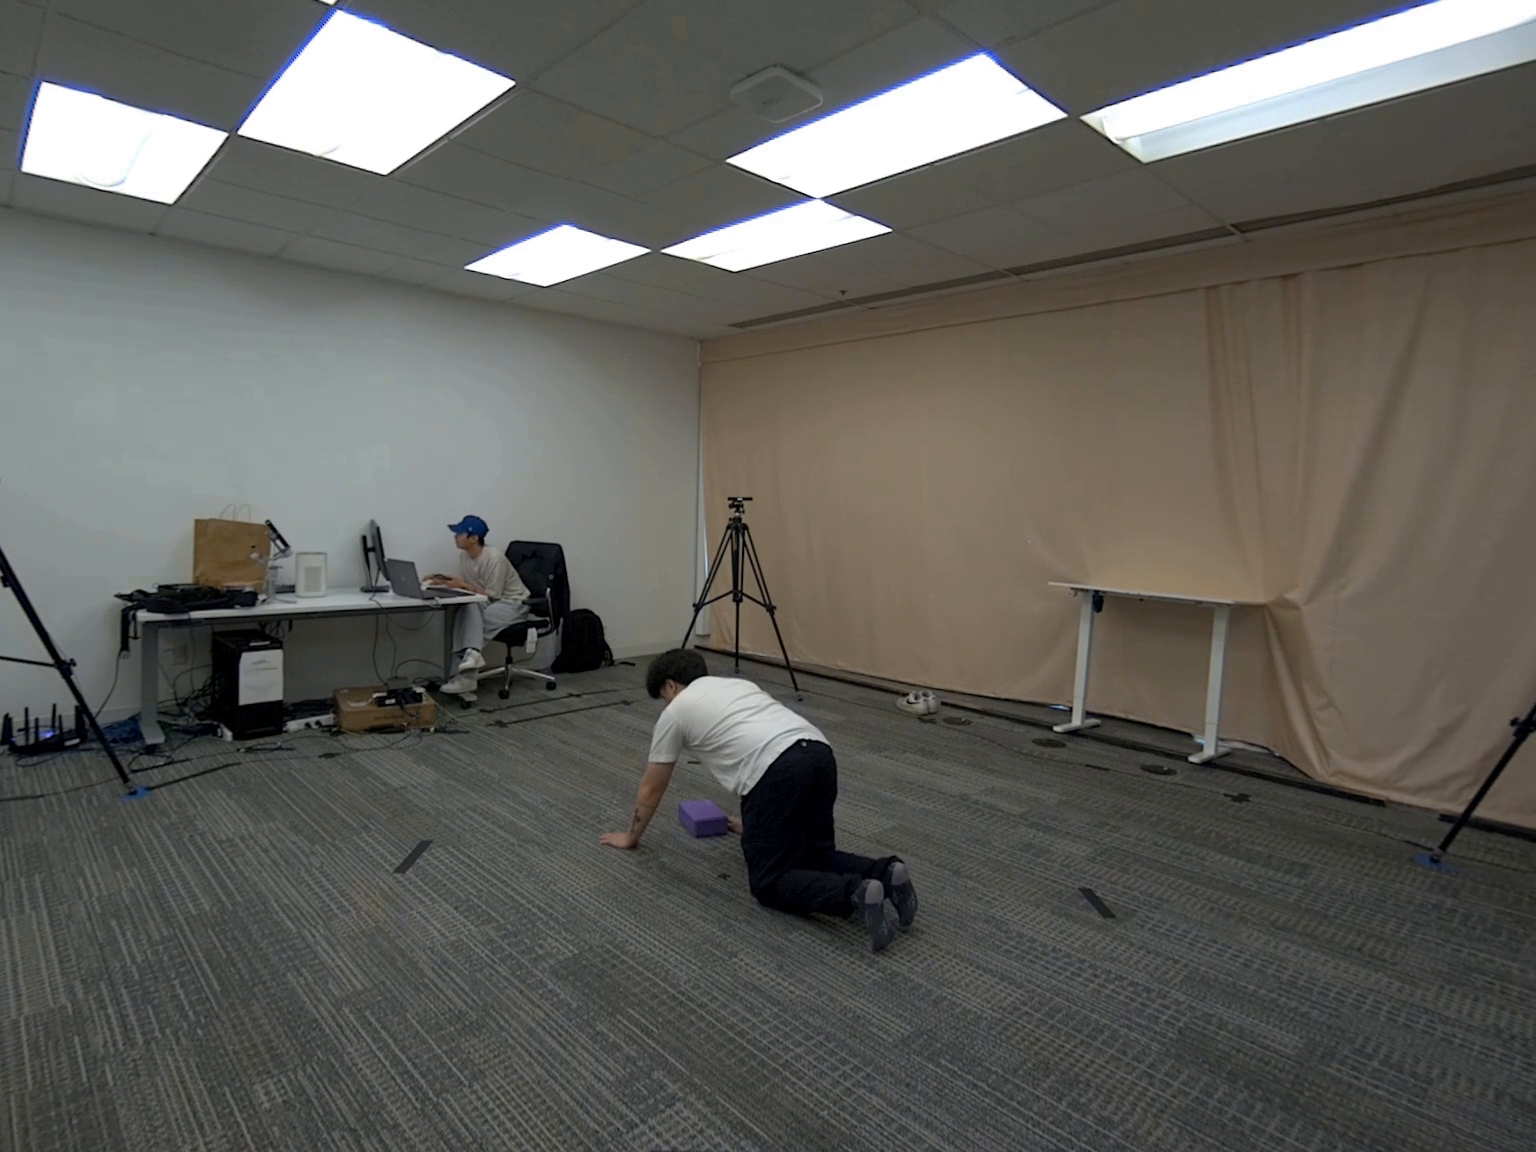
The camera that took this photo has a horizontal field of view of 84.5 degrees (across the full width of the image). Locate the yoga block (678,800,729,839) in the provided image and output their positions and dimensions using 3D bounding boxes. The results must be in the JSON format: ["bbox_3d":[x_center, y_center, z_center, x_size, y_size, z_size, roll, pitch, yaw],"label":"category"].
[{"bbox_3d":[-0.283,1.023,3.568,0.146,0.076,0.234,0,4,-23],"label":"yoga block"}]
